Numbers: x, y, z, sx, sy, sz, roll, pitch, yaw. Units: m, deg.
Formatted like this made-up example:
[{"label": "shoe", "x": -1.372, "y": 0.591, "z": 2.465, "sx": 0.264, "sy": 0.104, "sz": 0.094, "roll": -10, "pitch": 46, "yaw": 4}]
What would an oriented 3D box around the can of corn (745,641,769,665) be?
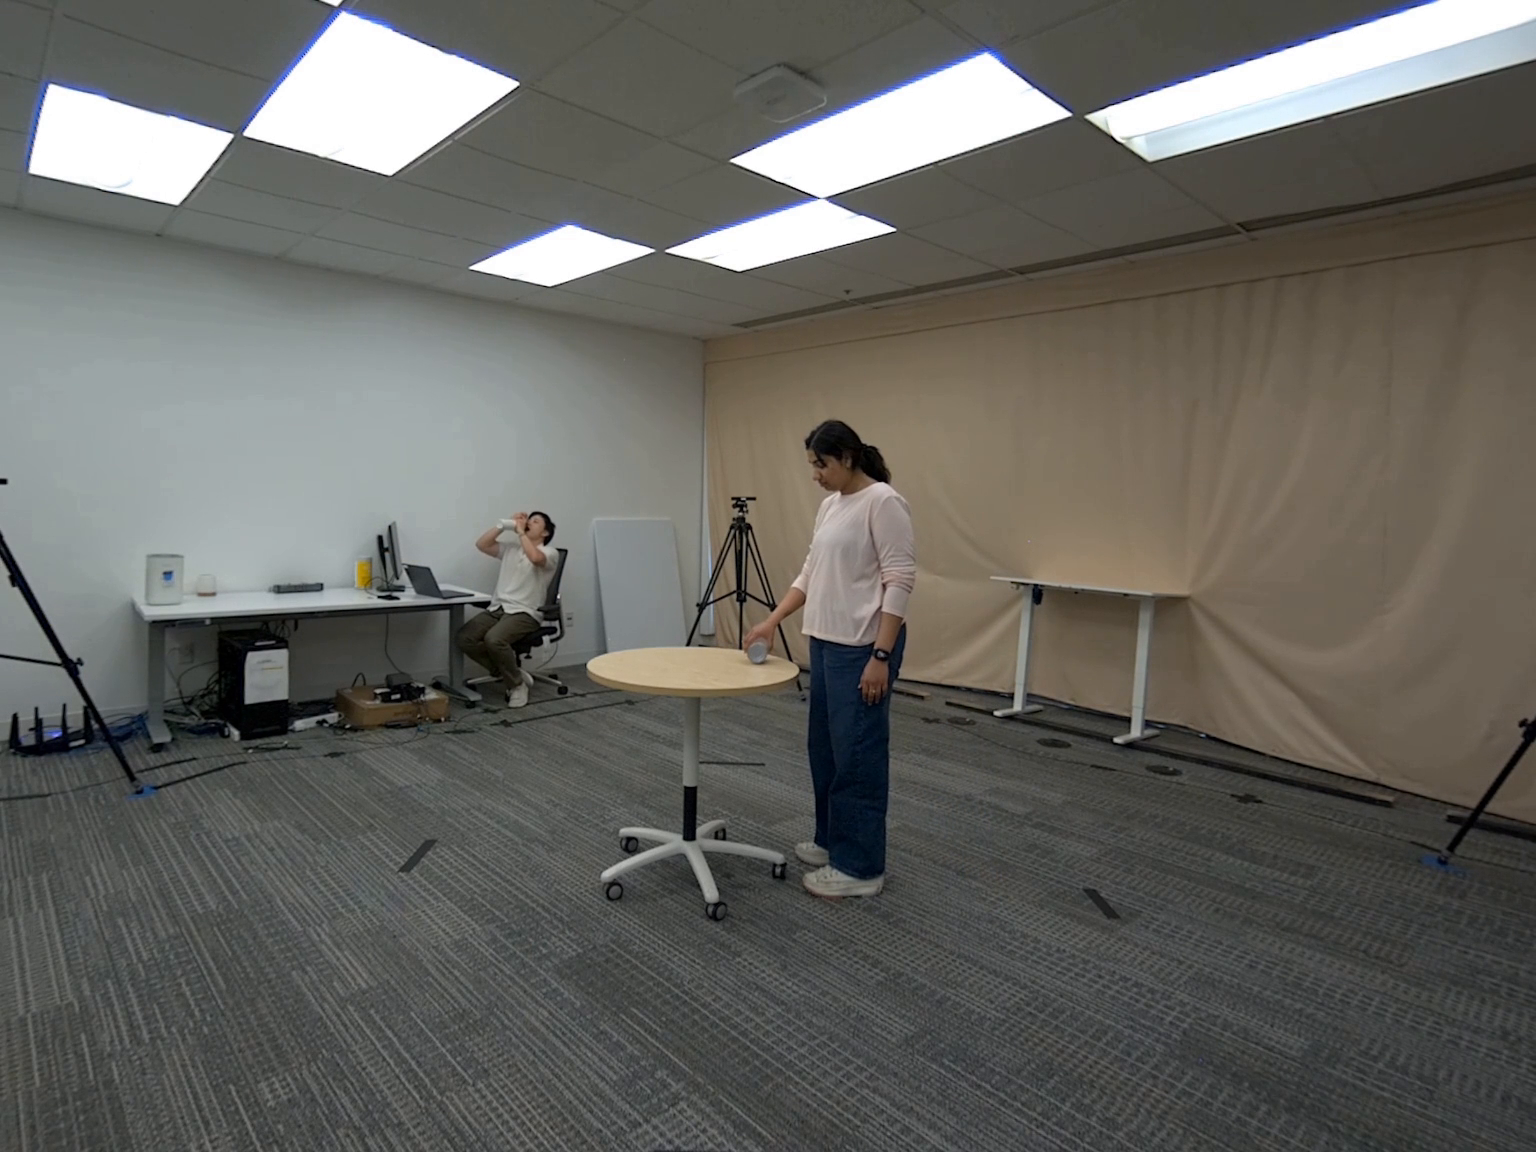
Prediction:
[{"label": "can of corn", "x": -0.040, "y": 0.281, "z": 3.148, "sx": 0.074, "sy": 0.074, "sz": 0.111, "roll": 1, "pitch": 5, "yaw": 2}]
